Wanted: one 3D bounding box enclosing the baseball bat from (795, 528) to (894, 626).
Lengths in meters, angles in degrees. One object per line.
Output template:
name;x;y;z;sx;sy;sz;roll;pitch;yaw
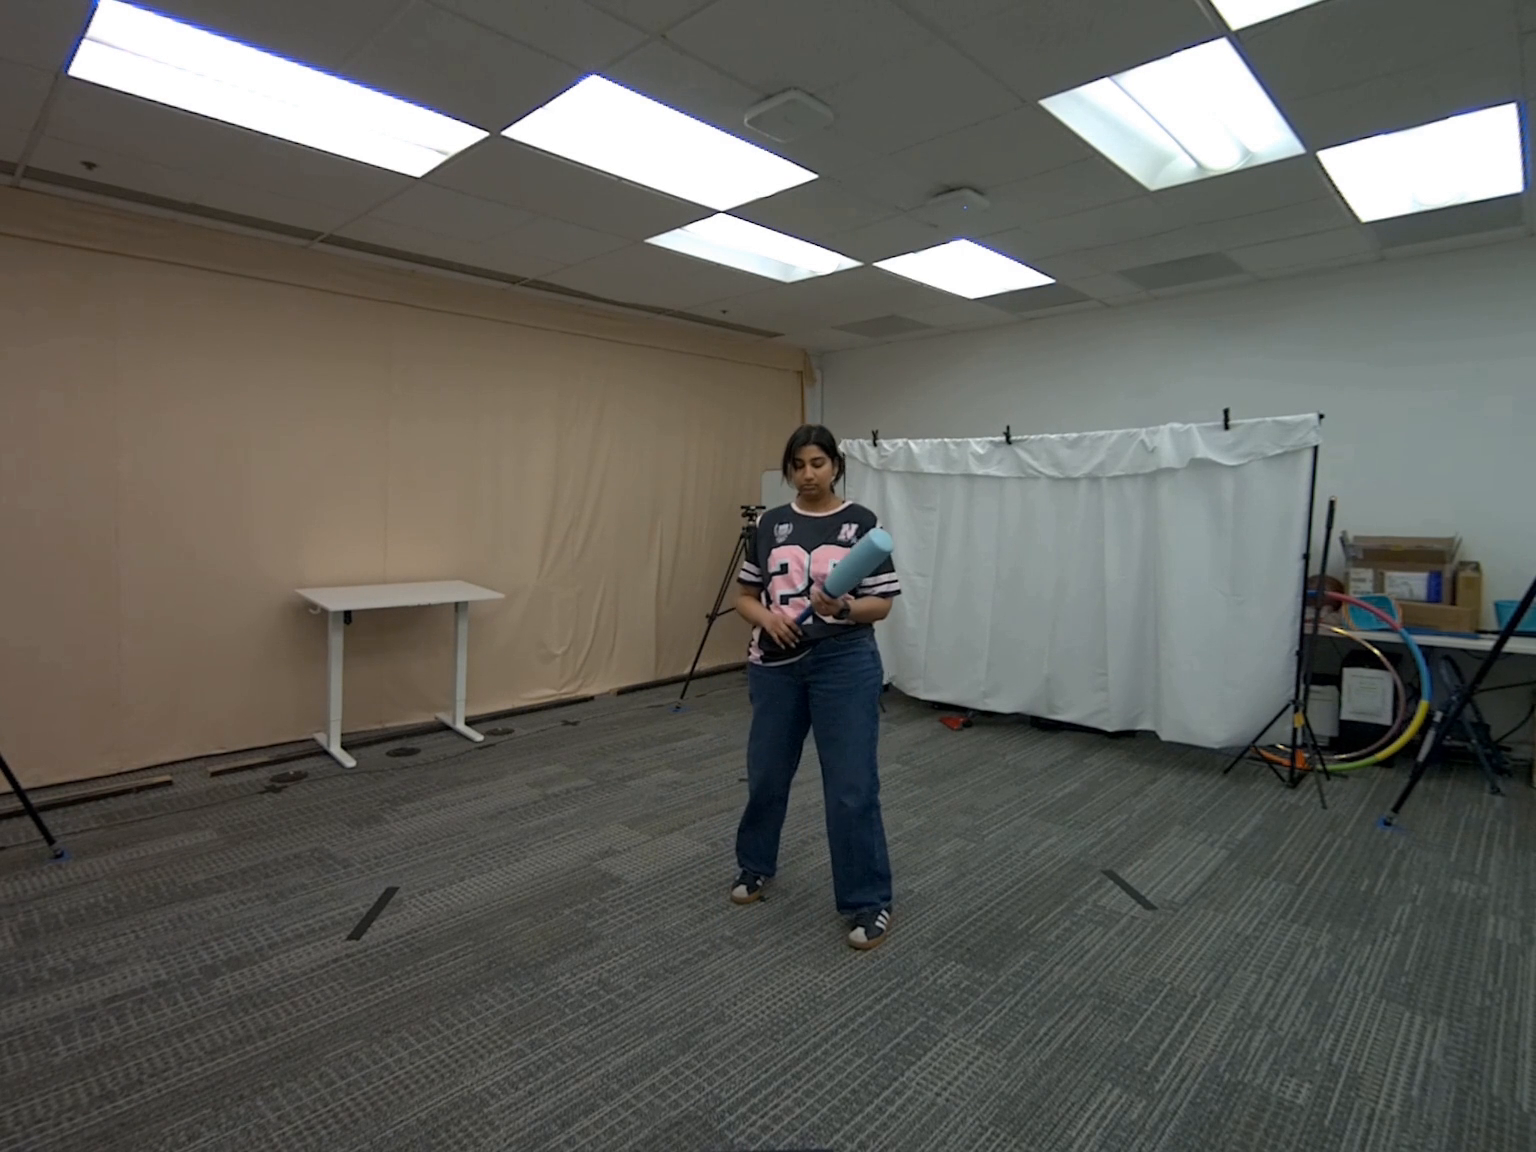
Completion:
baseball bat;0.187;0.042;2.501;0.086;0.091;0.545;-2;-33;-34
